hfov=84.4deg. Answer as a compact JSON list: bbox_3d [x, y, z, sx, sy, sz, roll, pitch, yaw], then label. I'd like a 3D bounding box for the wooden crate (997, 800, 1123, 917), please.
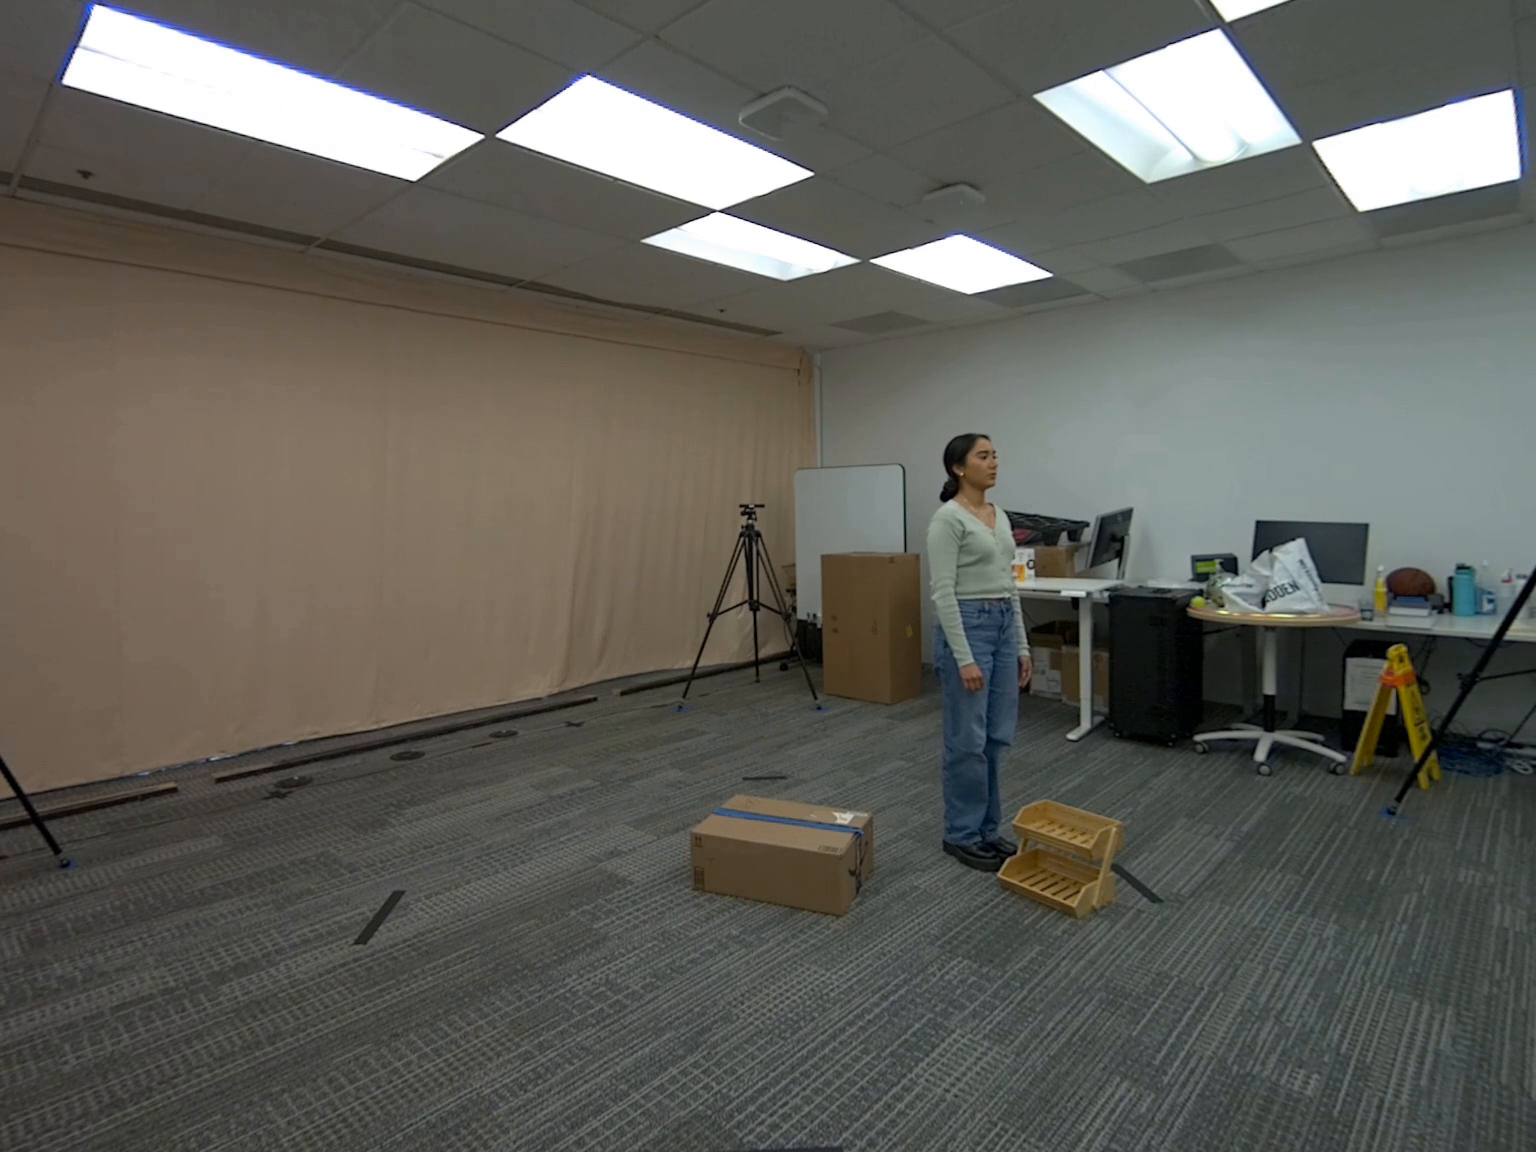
[{"bbox_3d":[1.028,0.979,2.986,0.293,0.273,0.335,-2,4,-39],"label":"wooden crate"}]
